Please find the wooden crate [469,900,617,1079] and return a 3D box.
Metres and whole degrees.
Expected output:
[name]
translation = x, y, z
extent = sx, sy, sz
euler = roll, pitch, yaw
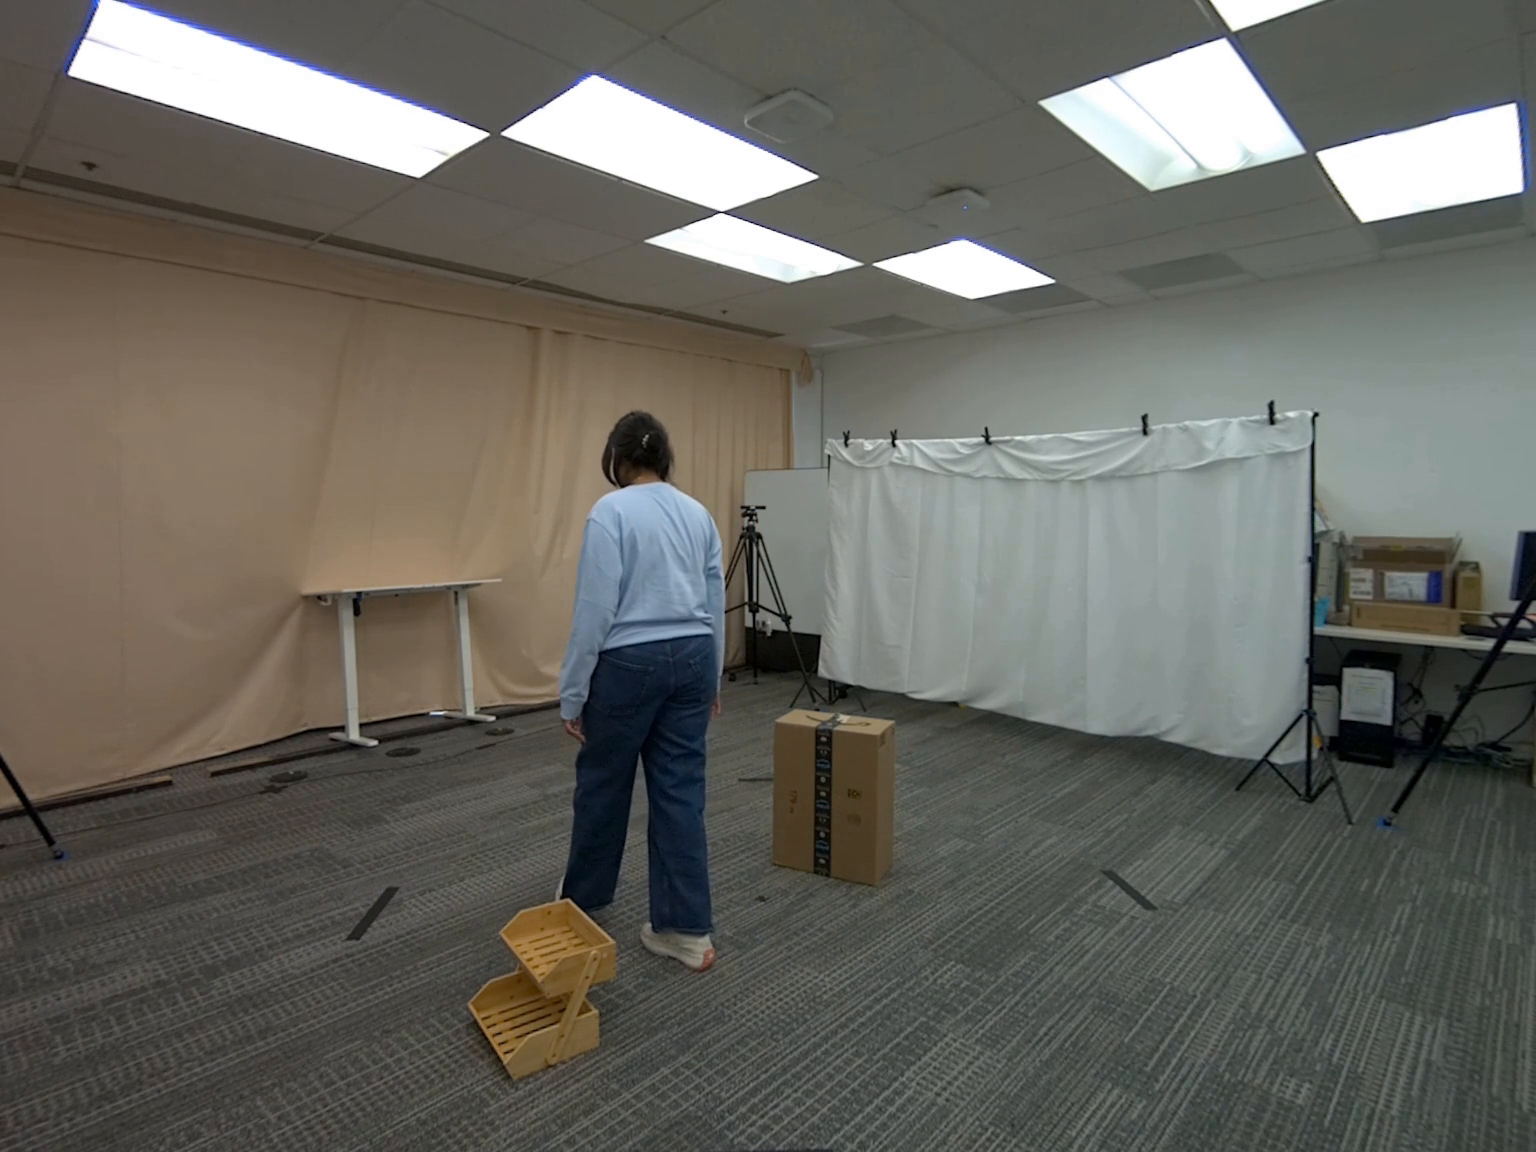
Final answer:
[wooden crate]
translation = -0.613, 1.078, 2.232
extent = 0.293, 0.273, 0.335
euler = -3, 4, -36
